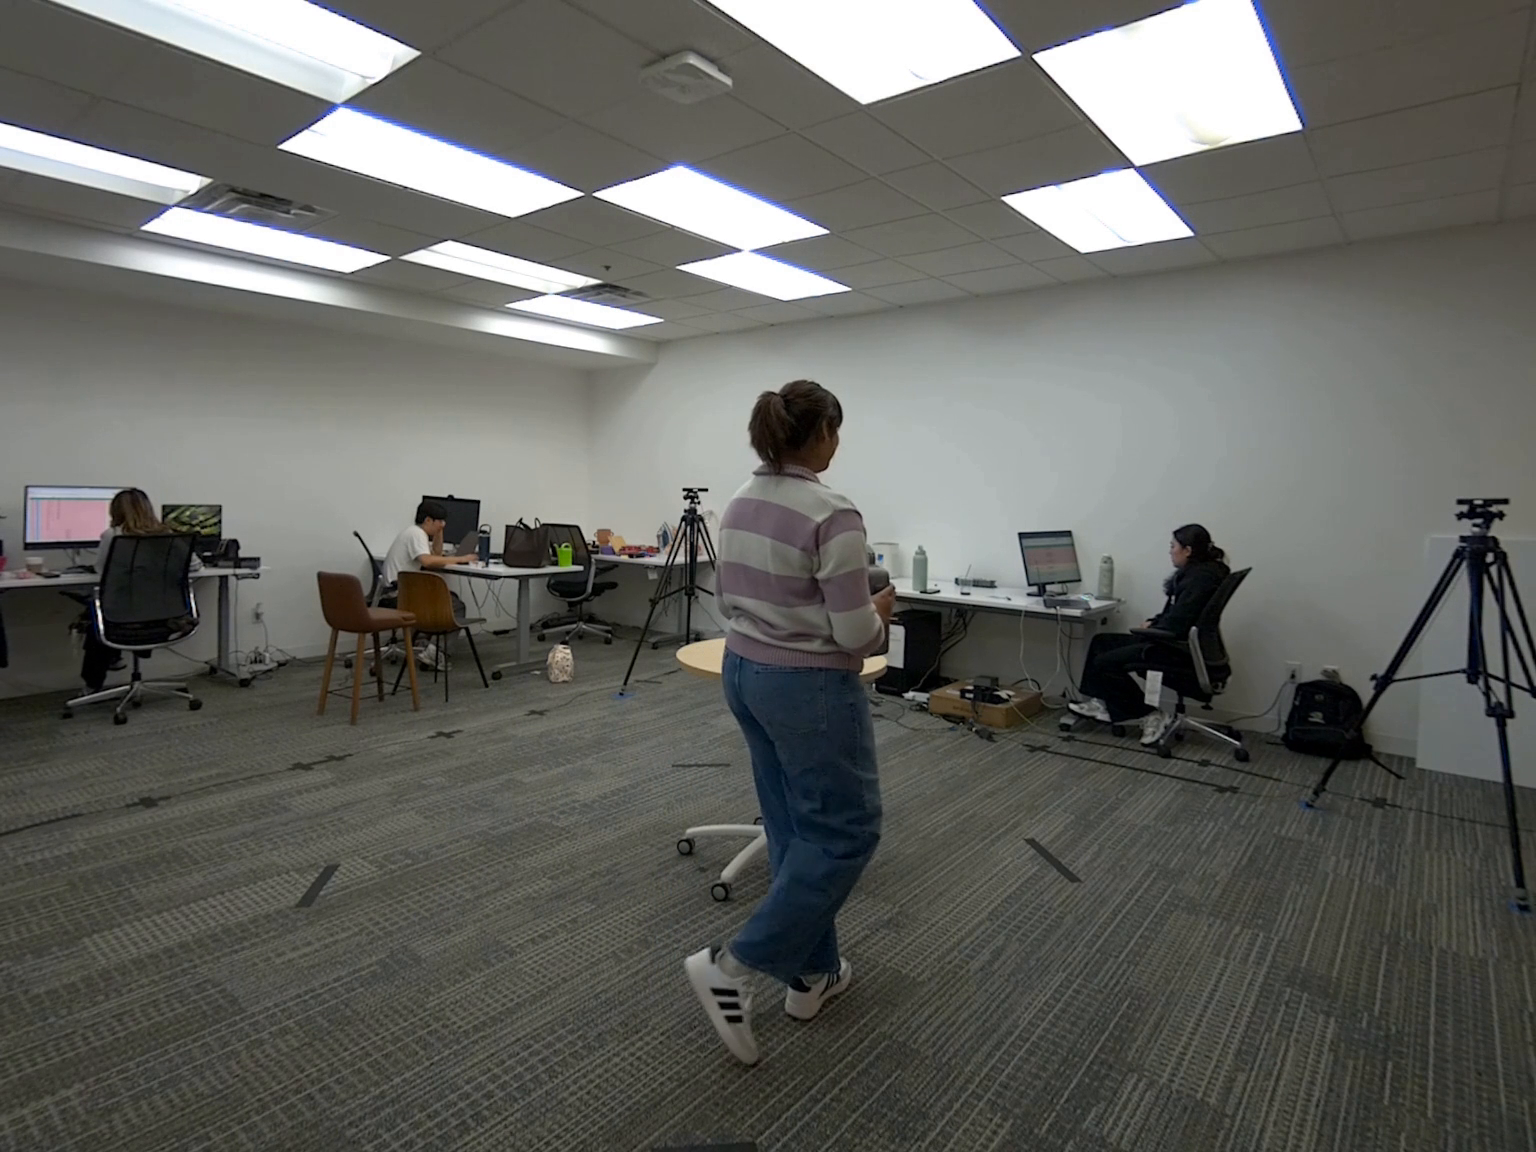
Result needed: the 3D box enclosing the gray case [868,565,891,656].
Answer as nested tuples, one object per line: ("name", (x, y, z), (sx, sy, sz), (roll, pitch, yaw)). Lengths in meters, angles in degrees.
("gray case", (0.255, 0.073, 2.421), (0.103, 0.258, 0.262), (-2, 11, -10))
